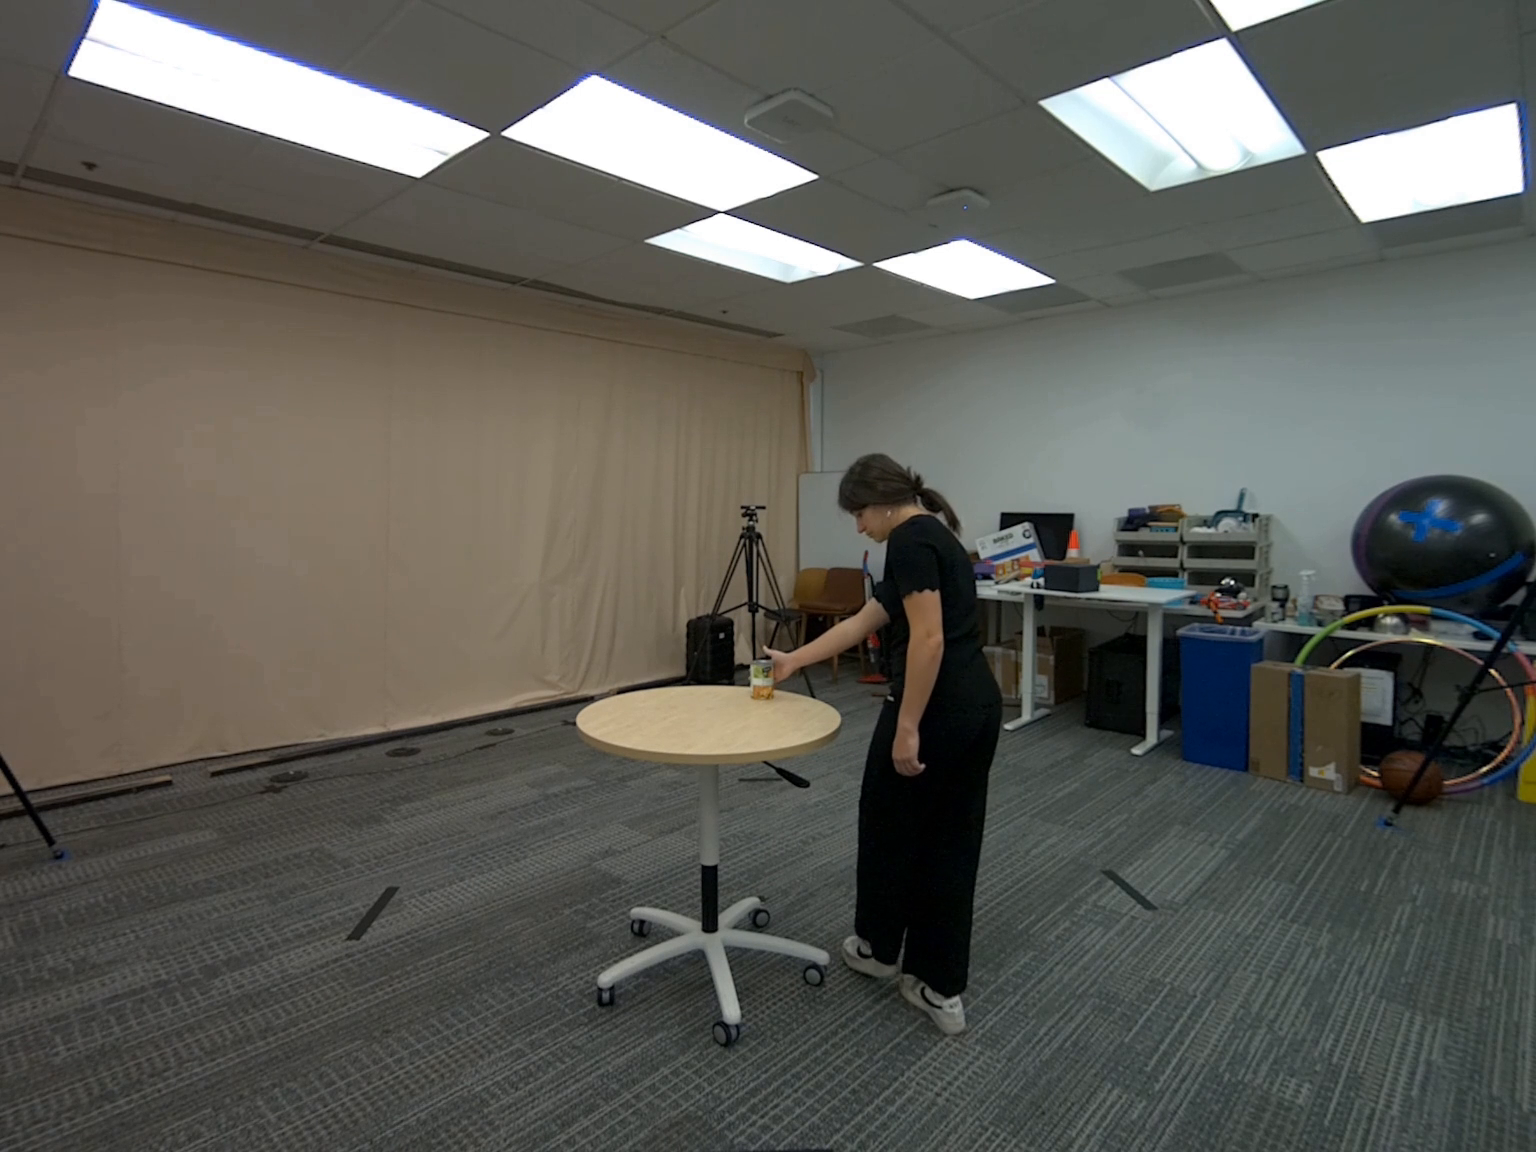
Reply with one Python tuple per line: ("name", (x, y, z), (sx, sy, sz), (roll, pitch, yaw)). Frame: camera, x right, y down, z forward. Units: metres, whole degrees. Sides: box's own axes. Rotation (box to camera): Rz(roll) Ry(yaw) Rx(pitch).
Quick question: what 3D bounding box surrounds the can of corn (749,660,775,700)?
("can of corn", (-0.017, 0.332, 2.662), (0.074, 0.111, 0.074), (0, 2, -2))
